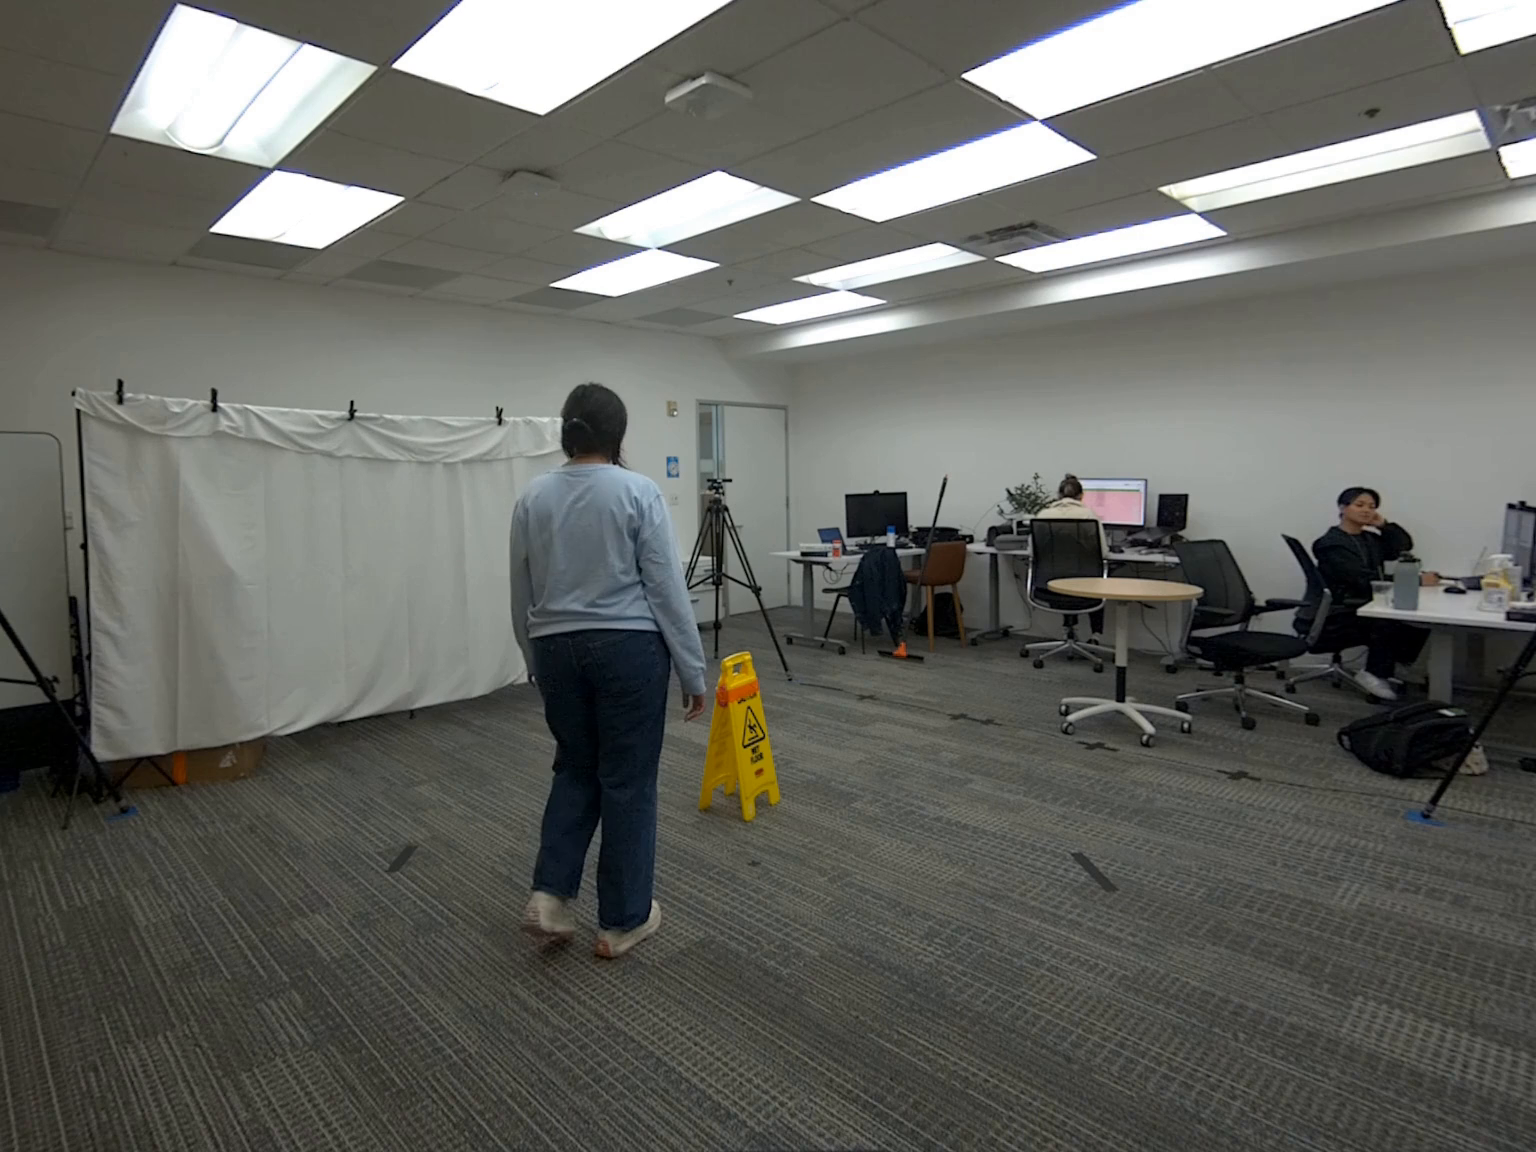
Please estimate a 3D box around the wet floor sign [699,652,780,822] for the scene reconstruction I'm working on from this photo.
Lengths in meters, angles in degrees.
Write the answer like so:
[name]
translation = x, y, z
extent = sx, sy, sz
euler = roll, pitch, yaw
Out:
[wet floor sign]
translation = -0.131, 0.661, 3.651
extent = 0.297, 0.644, 0.275
euler = 0, 3, 31
